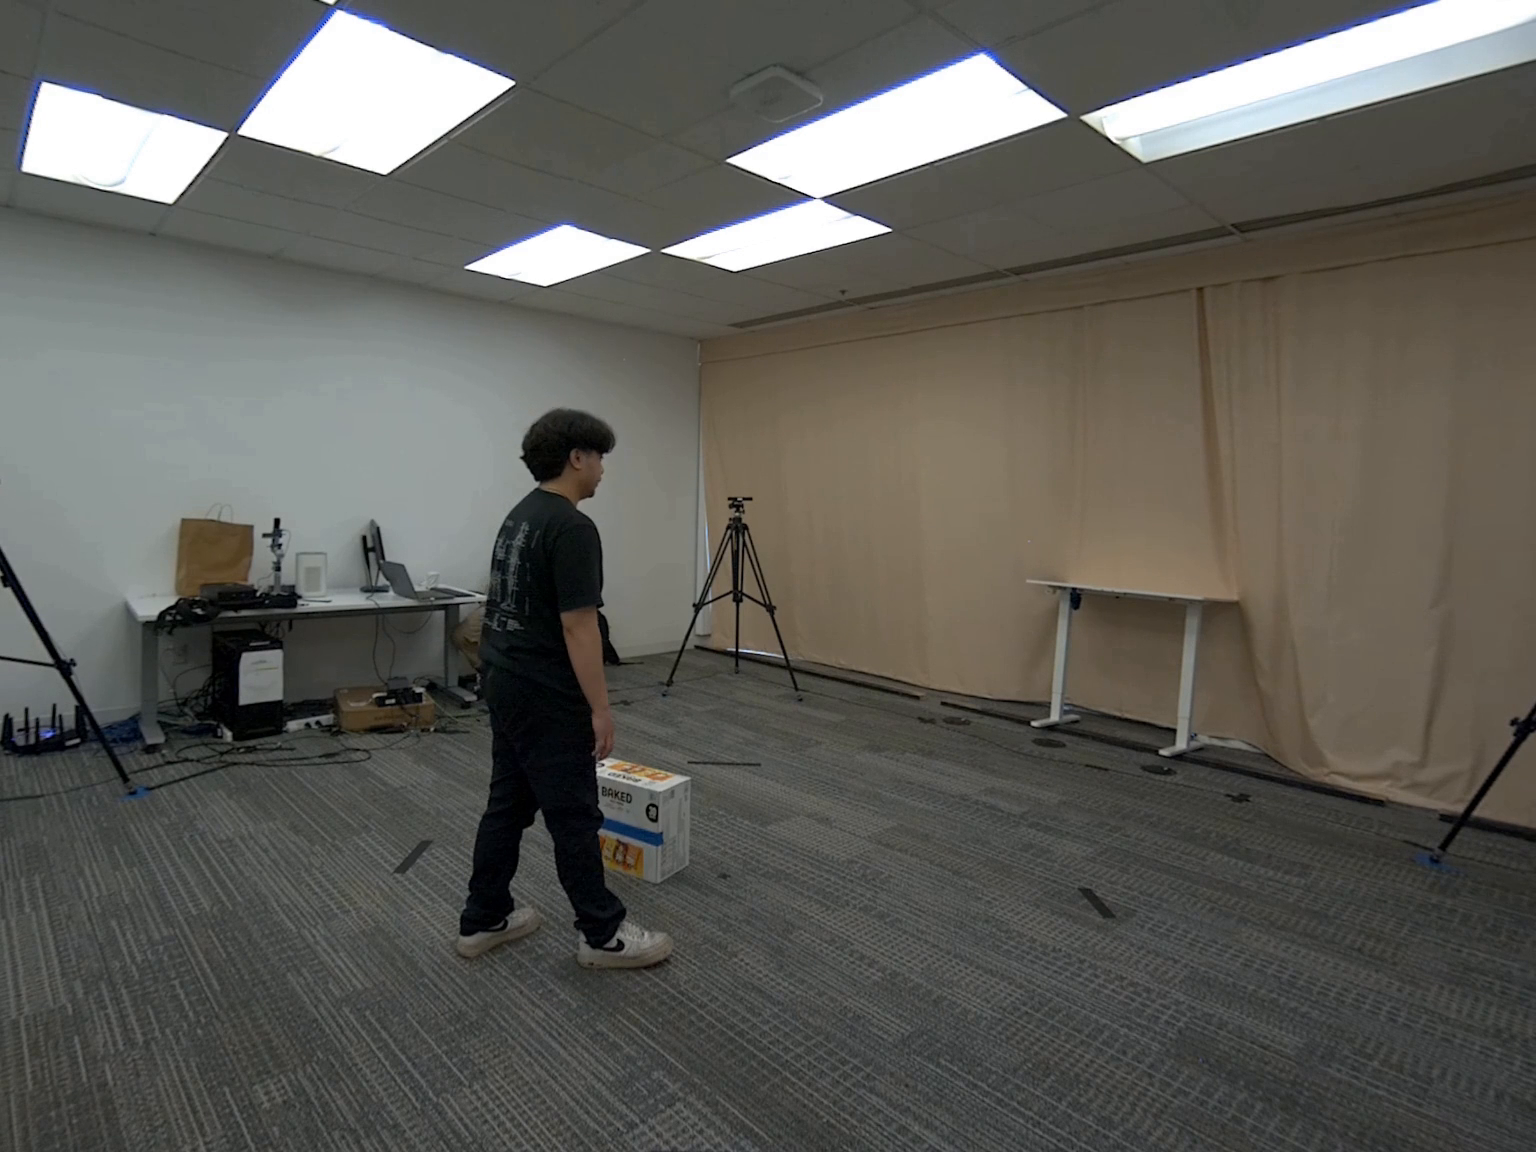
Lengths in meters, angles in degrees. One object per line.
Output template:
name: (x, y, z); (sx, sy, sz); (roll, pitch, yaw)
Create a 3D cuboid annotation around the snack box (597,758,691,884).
snack box: (-0.521, 0.919, 3.207); (0.414, 0.339, 0.201); (5, 4, 31)
